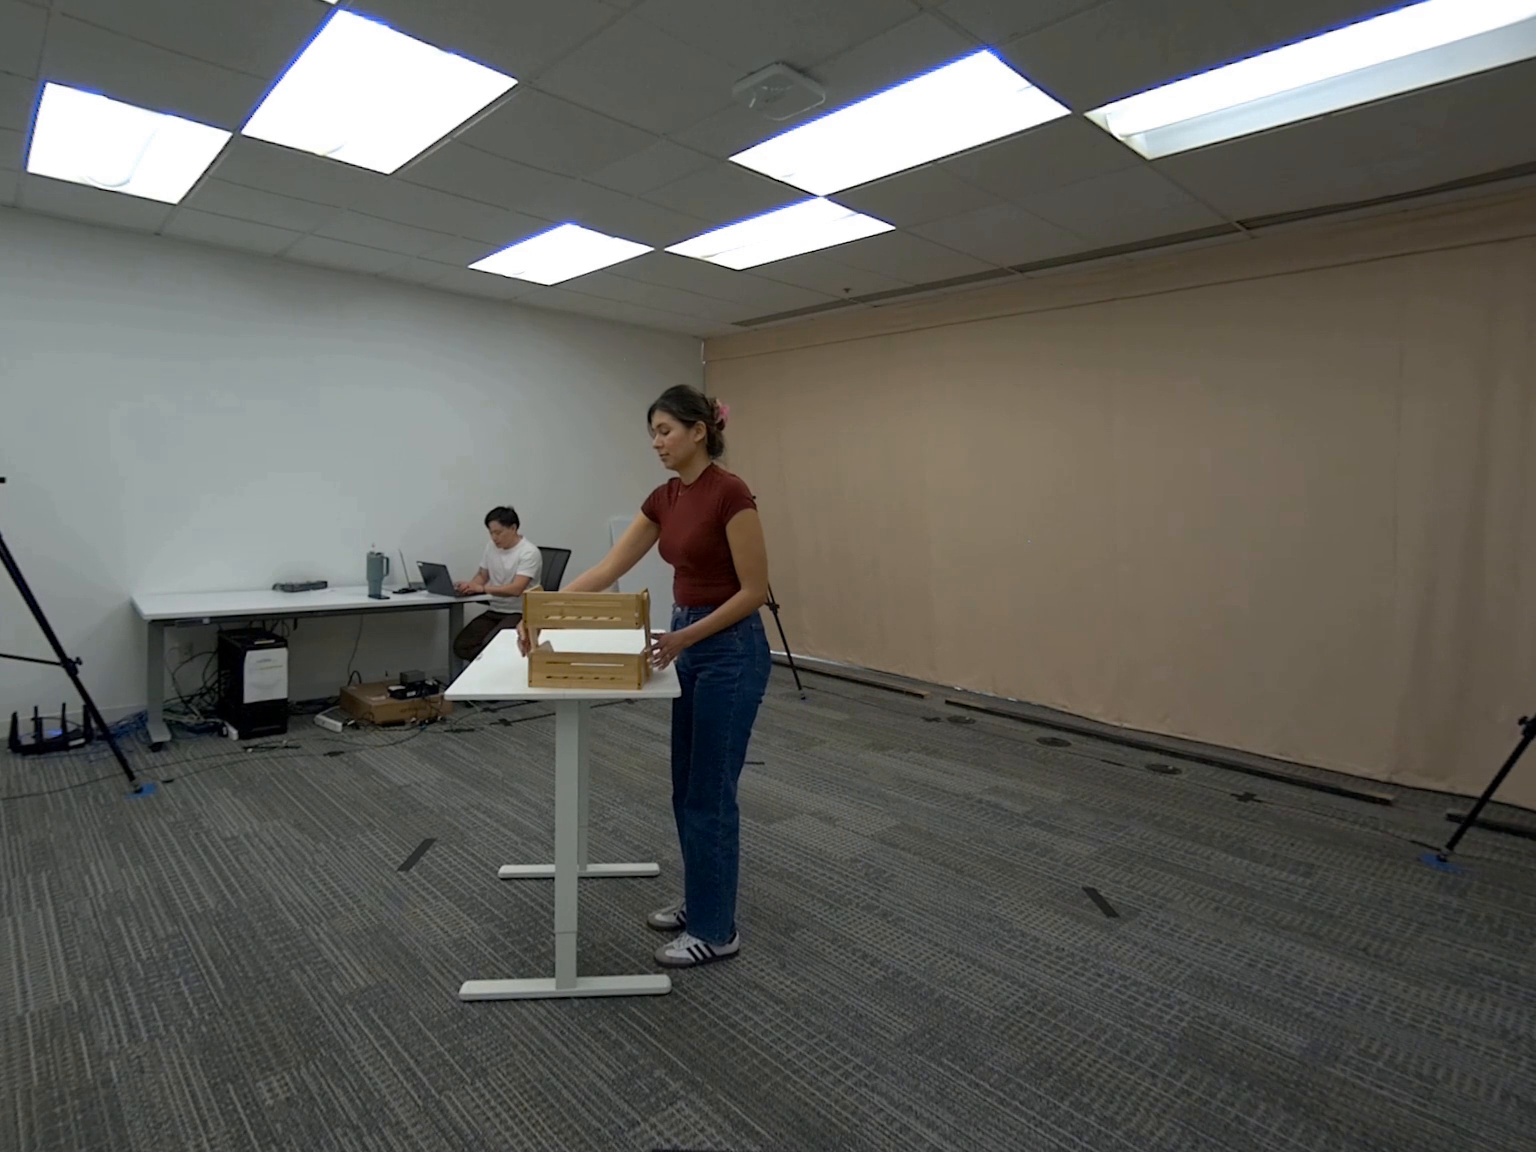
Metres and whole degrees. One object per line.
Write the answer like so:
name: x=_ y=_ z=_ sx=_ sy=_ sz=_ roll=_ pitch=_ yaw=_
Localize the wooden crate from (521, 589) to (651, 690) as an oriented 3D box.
wooden crate: x=-0.487 y=0.159 z=2.299 sx=0.325 sy=0.272 sz=0.302 roll=1 pitch=4 yaw=1
